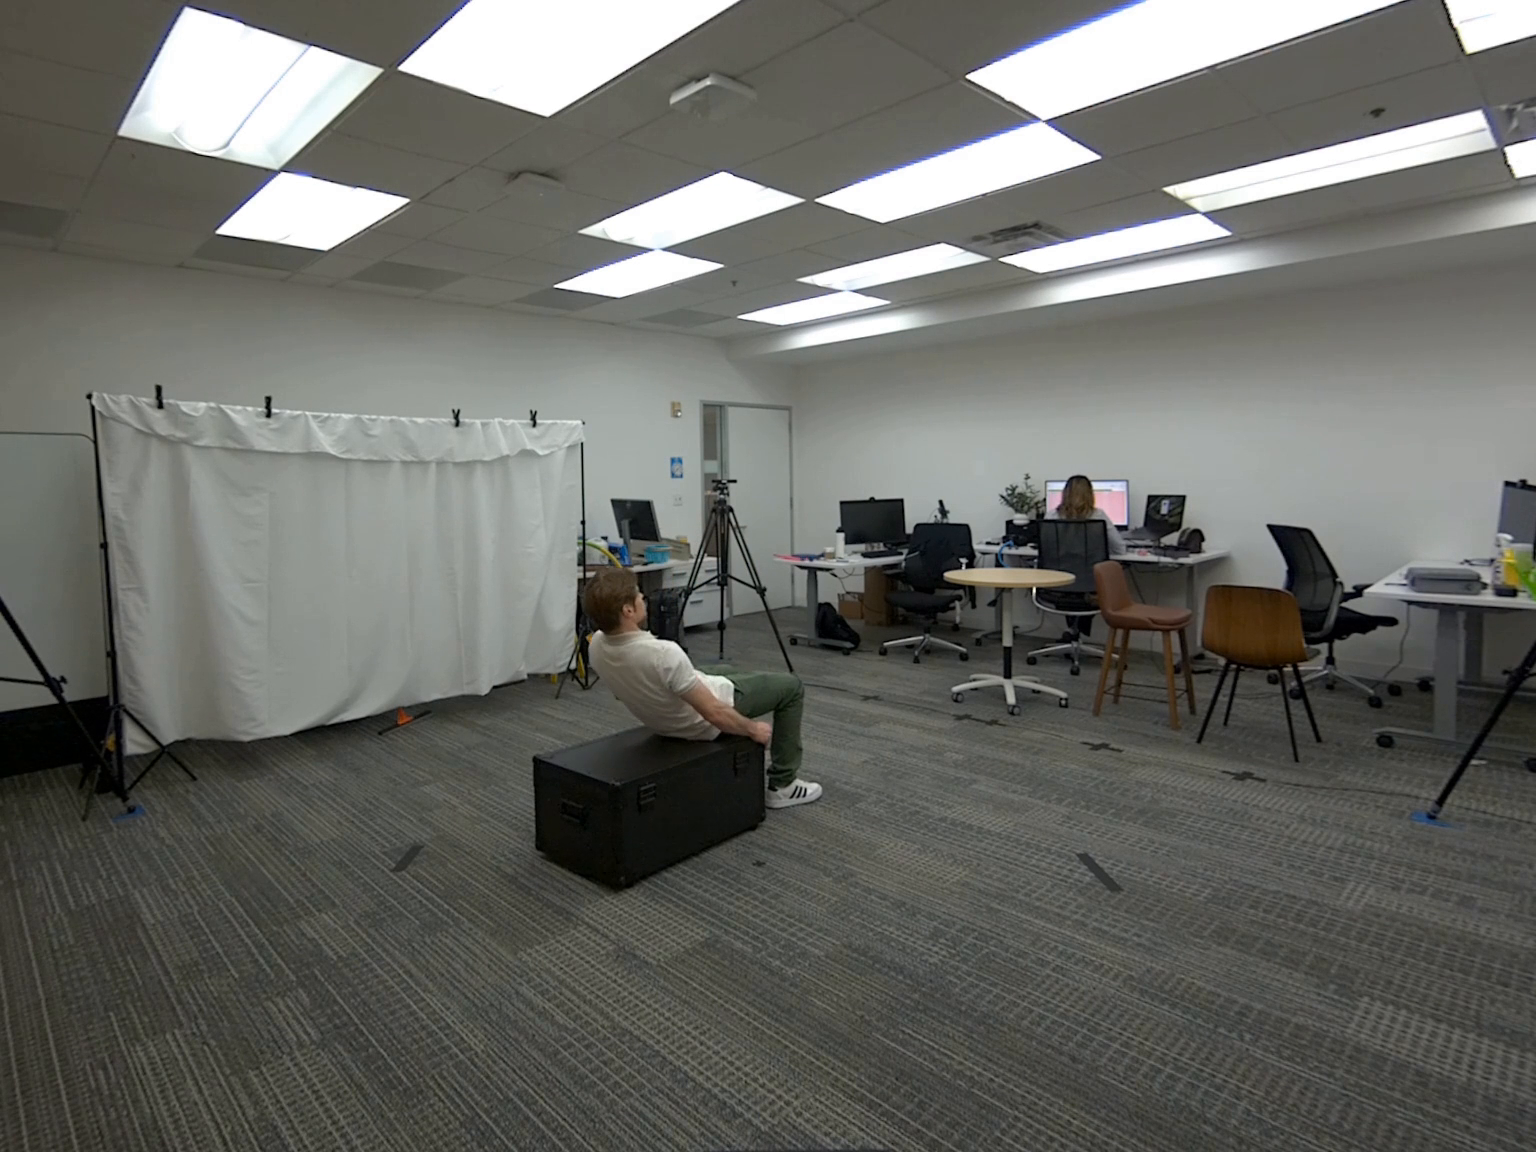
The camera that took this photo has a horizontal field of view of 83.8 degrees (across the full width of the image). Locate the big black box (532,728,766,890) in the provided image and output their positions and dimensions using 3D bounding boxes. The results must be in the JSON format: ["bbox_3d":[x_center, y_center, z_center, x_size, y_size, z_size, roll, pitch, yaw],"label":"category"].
[{"bbox_3d":[-0.417,0.836,3.344,0.539,0.384,0.846,2,6,41],"label":"big black box"}]
